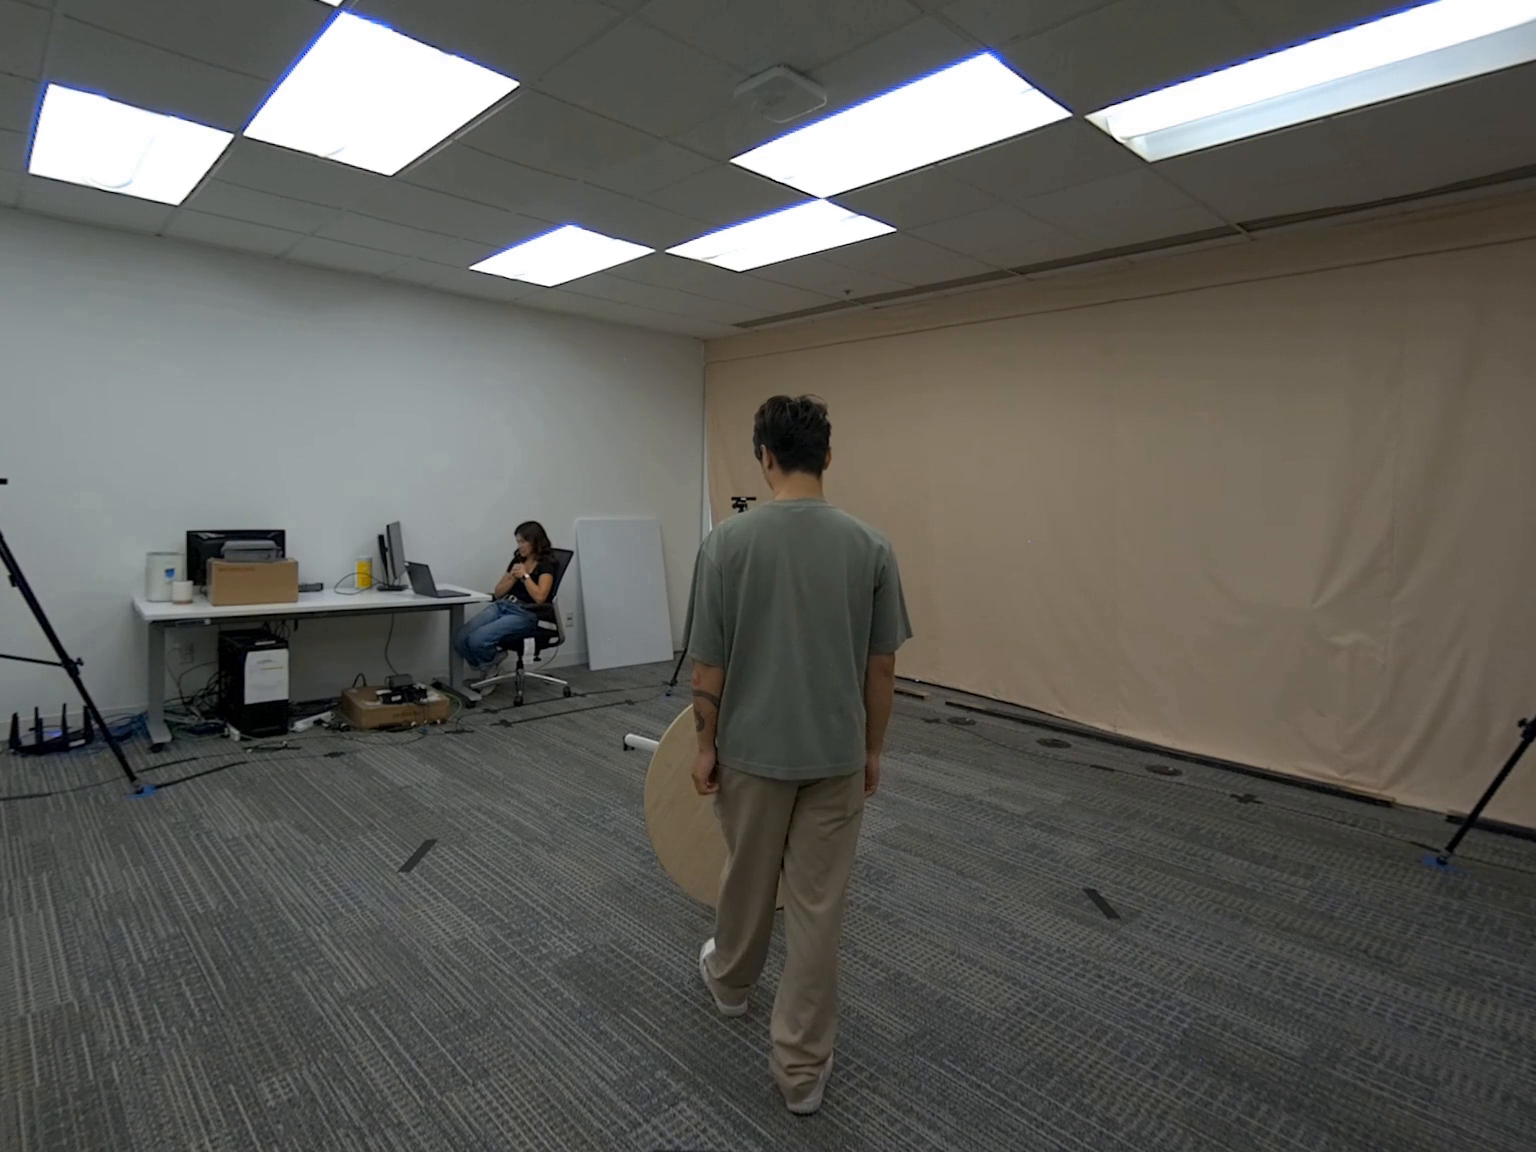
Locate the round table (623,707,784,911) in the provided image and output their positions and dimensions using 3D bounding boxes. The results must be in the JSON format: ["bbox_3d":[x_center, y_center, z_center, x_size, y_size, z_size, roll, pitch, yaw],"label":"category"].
[{"bbox_3d":[-0.165,0.763,3.242,0.775,0.787,0.795,0,-2,-17],"label":"round table"}]
